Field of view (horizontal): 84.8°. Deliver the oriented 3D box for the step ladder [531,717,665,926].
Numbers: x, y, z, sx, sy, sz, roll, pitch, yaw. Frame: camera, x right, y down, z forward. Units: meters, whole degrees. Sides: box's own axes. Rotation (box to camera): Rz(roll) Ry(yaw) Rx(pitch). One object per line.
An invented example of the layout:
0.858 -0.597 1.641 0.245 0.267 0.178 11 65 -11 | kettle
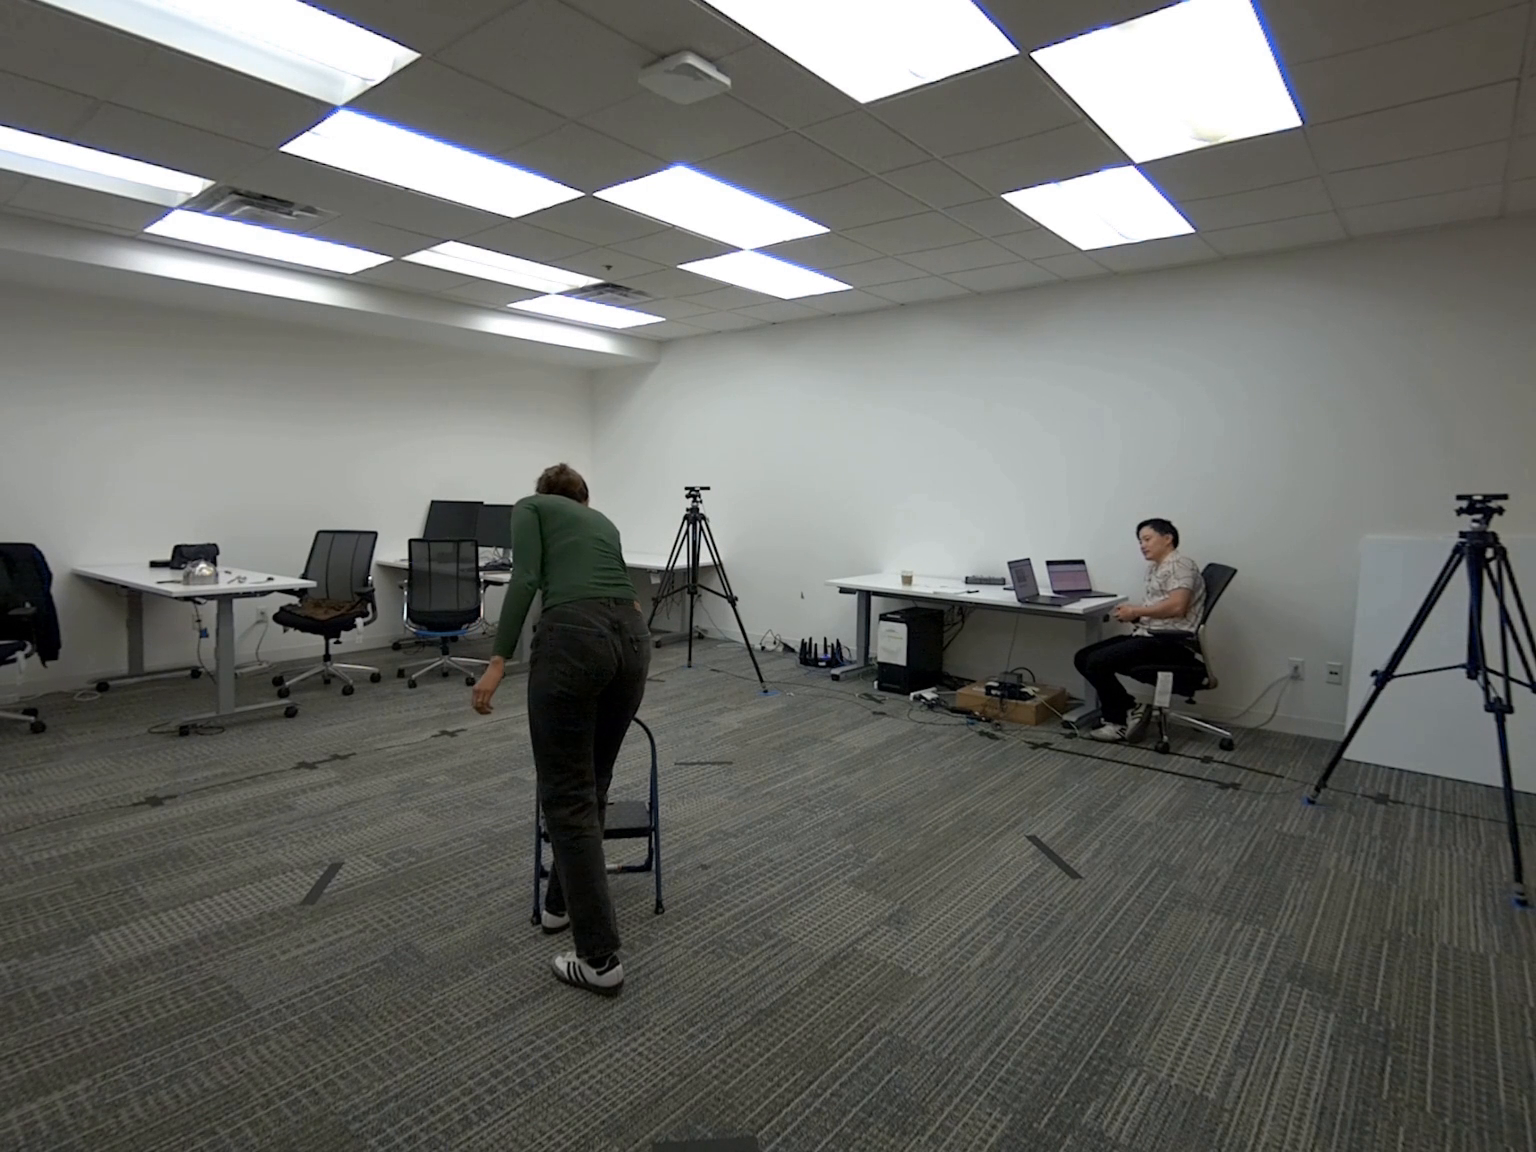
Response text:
-0.585 0.778 2.894 0.425 0.605 0.354 0 3 -12 | step ladder
